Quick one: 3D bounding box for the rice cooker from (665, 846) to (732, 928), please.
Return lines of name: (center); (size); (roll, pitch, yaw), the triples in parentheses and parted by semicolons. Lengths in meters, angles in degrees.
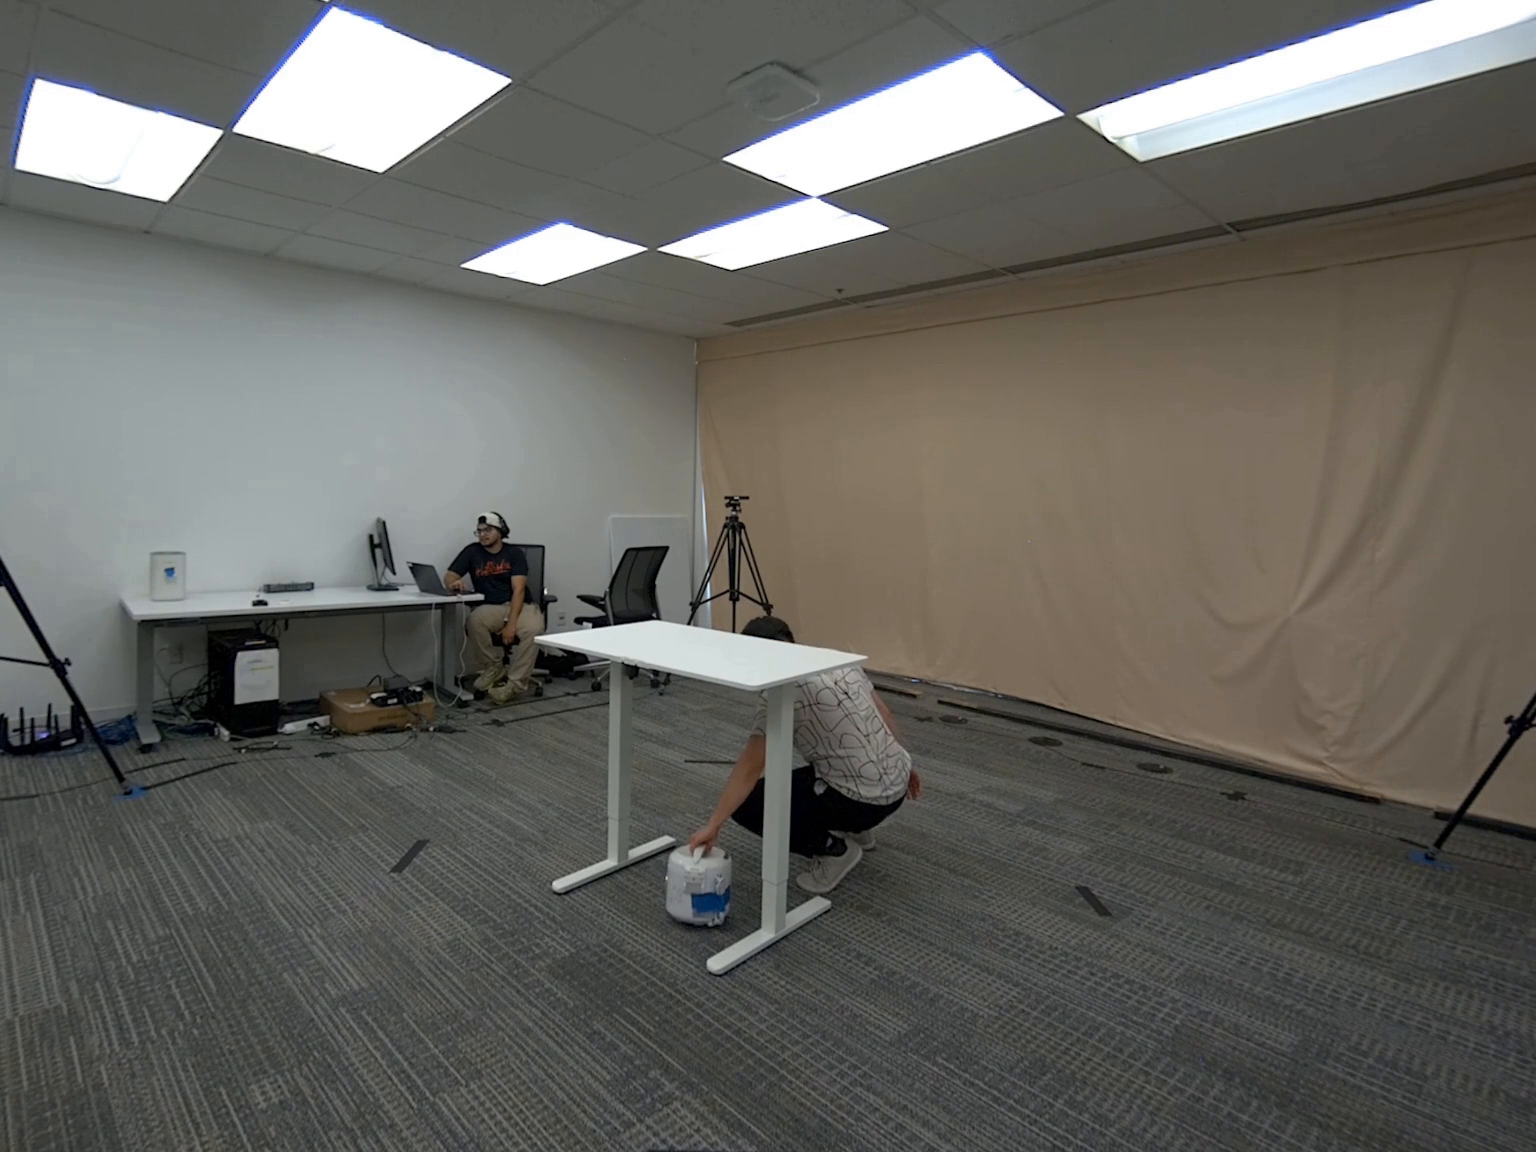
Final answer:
rice cooker: (-0.234, 0.997, 2.778); (0.219, 0.233, 0.218); (3, -2, 8)
